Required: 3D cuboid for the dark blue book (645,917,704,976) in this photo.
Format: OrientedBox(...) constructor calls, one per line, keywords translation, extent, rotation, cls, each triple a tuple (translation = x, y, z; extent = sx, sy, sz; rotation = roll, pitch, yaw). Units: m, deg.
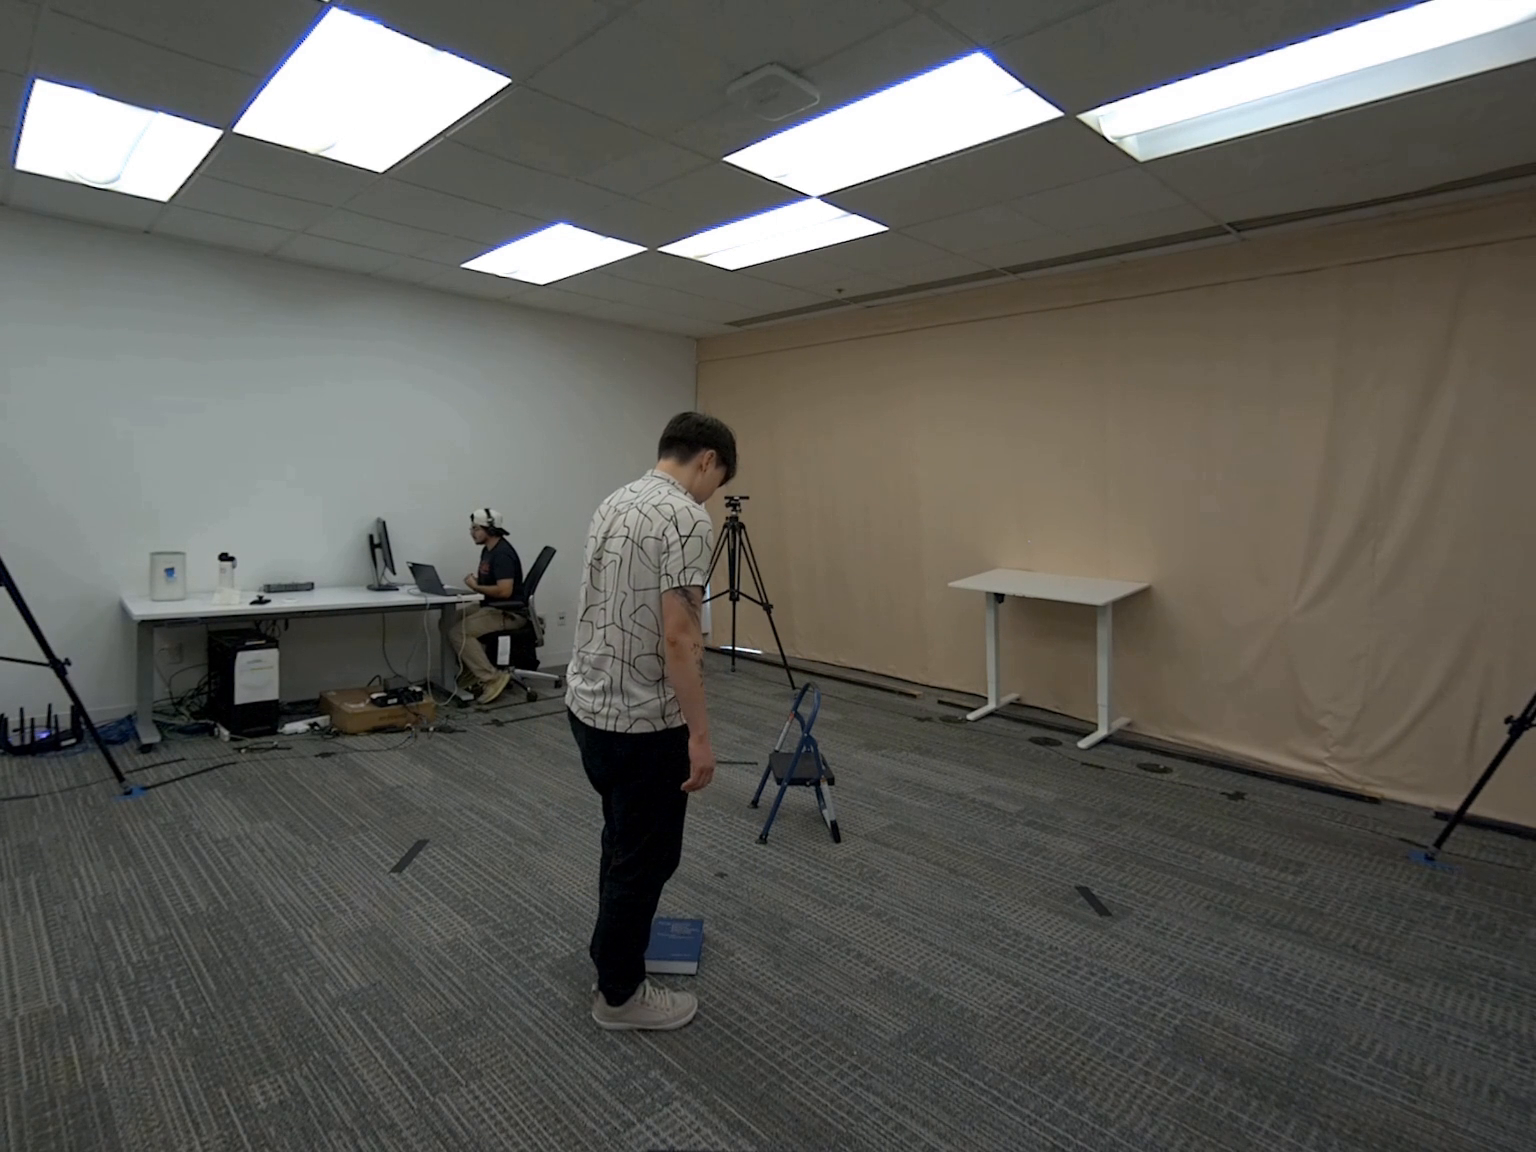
OrientedBox(translation=(-0.289, 1.128, 2.564), extent=(0.164, 0.045, 0.245), rotation=(1, 5, 1), cls="dark blue book")
